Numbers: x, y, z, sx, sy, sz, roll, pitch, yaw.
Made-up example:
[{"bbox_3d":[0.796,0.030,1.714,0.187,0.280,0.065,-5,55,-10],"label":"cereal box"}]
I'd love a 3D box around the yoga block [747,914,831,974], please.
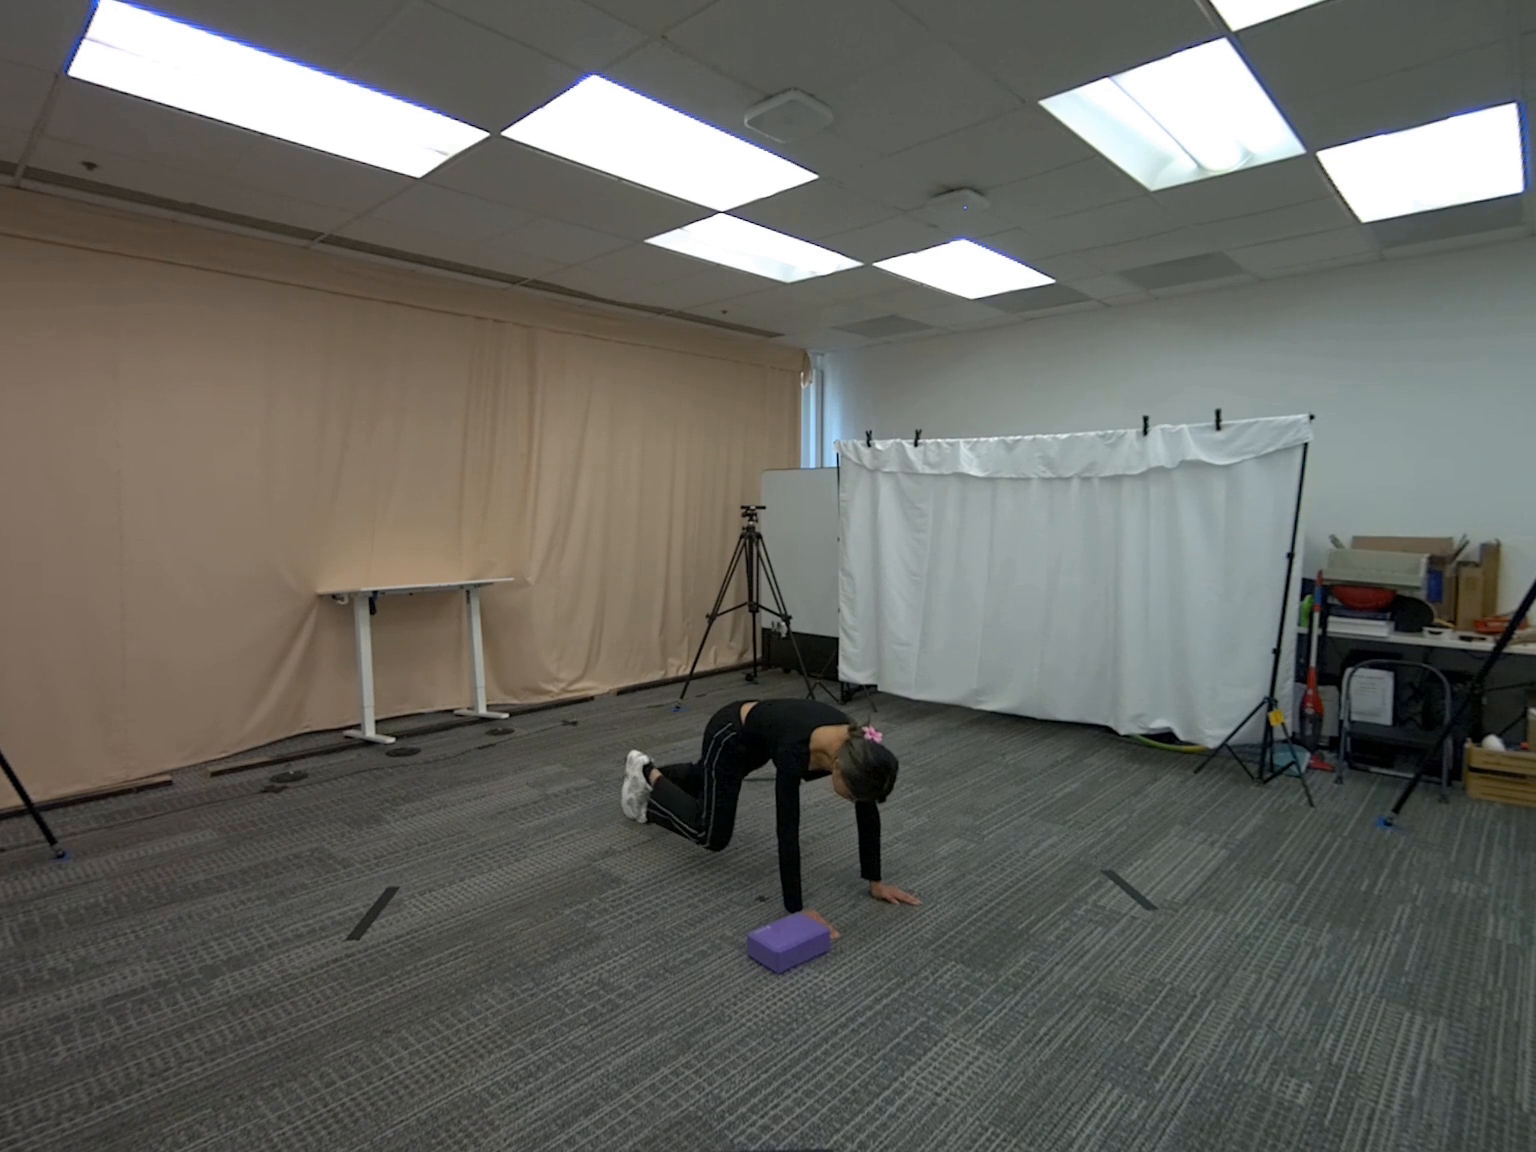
[{"bbox_3d":[0.069,1.133,2.616,0.222,0.076,0.154,-5,8,-40],"label":"yoga block"}]
